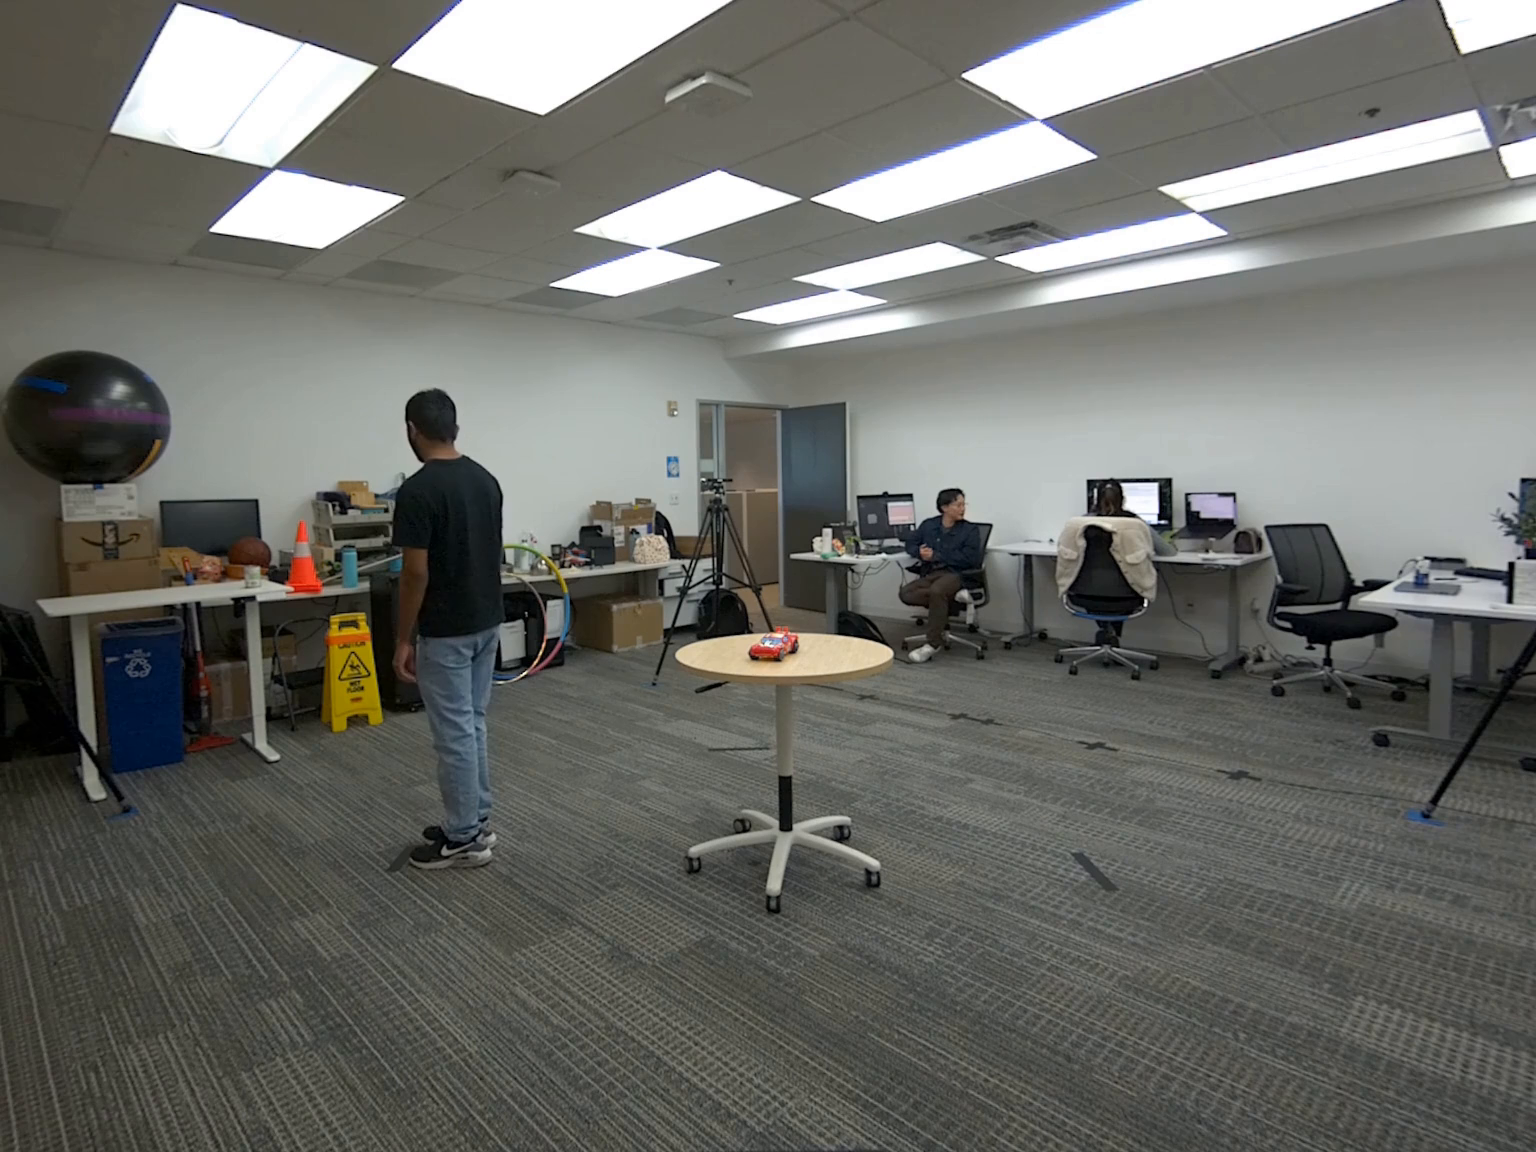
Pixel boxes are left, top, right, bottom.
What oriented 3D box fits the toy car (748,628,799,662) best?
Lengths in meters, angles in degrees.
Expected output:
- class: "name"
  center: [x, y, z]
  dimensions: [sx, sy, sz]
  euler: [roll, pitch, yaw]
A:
- class: "toy car"
  center: [0.027, 0.242, 2.968]
  dimensions: [0.133, 0.082, 0.253]
  euler: [1, 17, 21]
